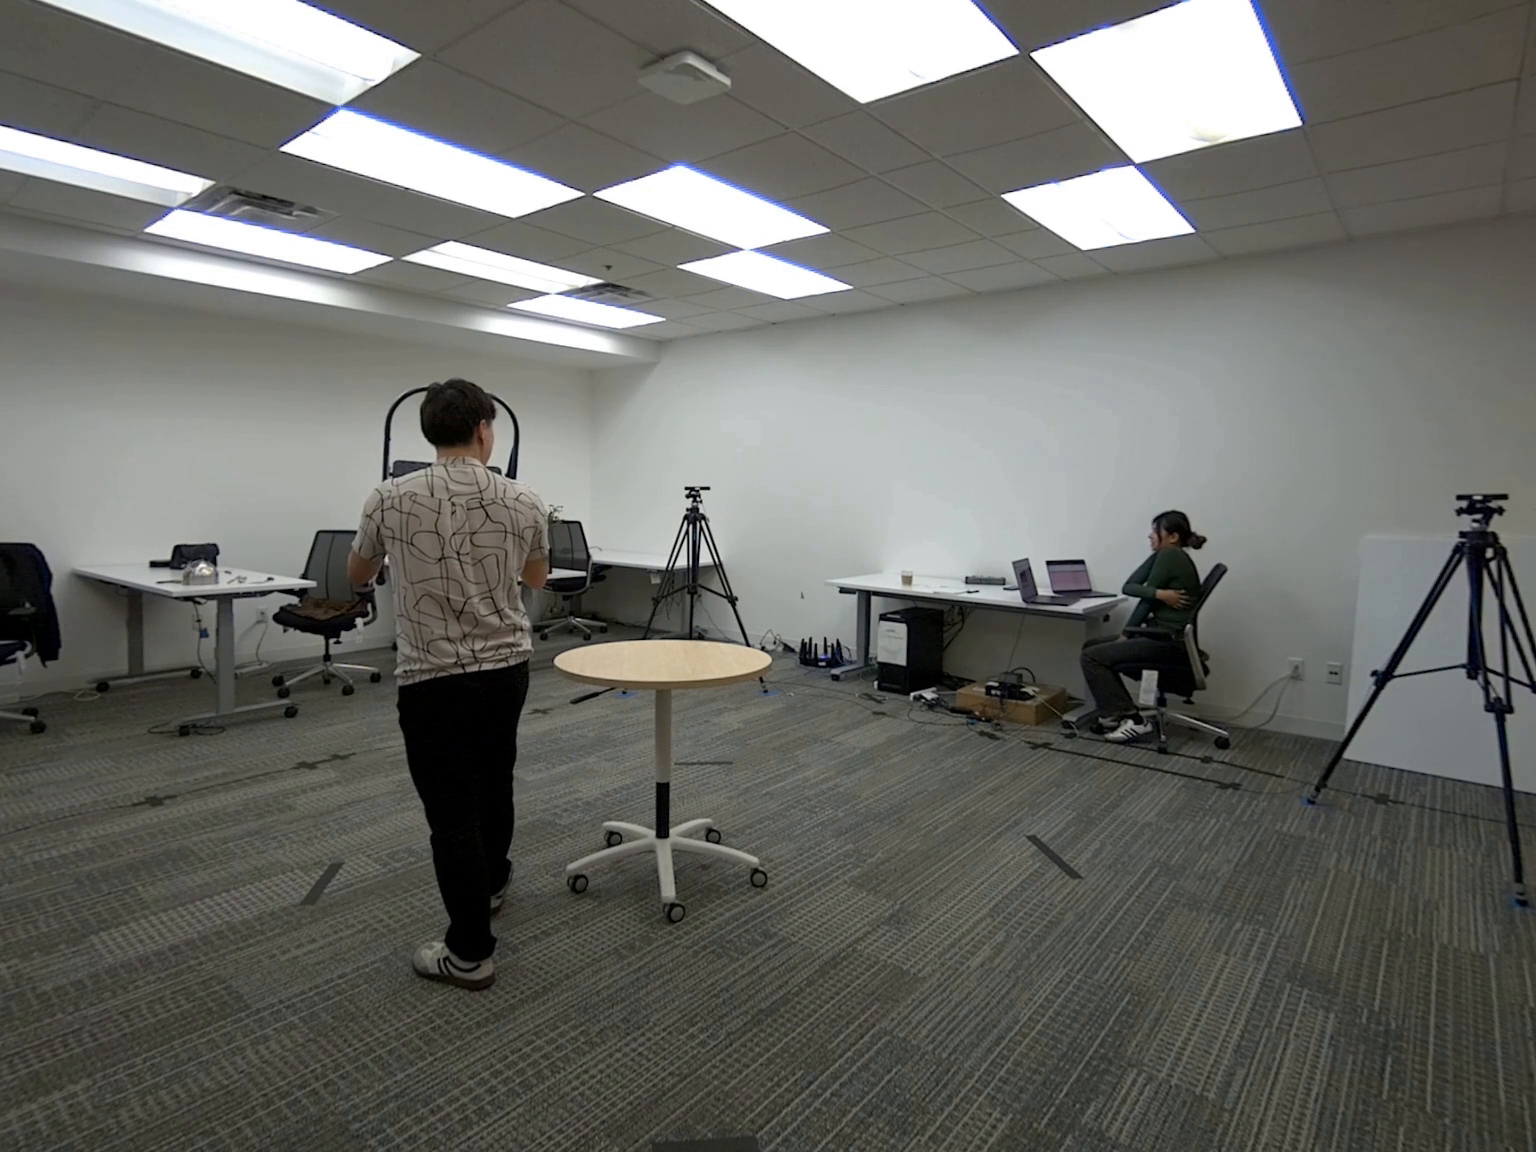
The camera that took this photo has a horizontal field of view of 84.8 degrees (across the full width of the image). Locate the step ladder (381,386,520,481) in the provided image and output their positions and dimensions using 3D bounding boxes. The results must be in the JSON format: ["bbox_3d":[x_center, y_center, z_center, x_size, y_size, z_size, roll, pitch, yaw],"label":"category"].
[{"bbox_3d":[-1.042,-0.313,2.747,0.420,0.597,0.363,3,41,-24],"label":"step ladder"}]
